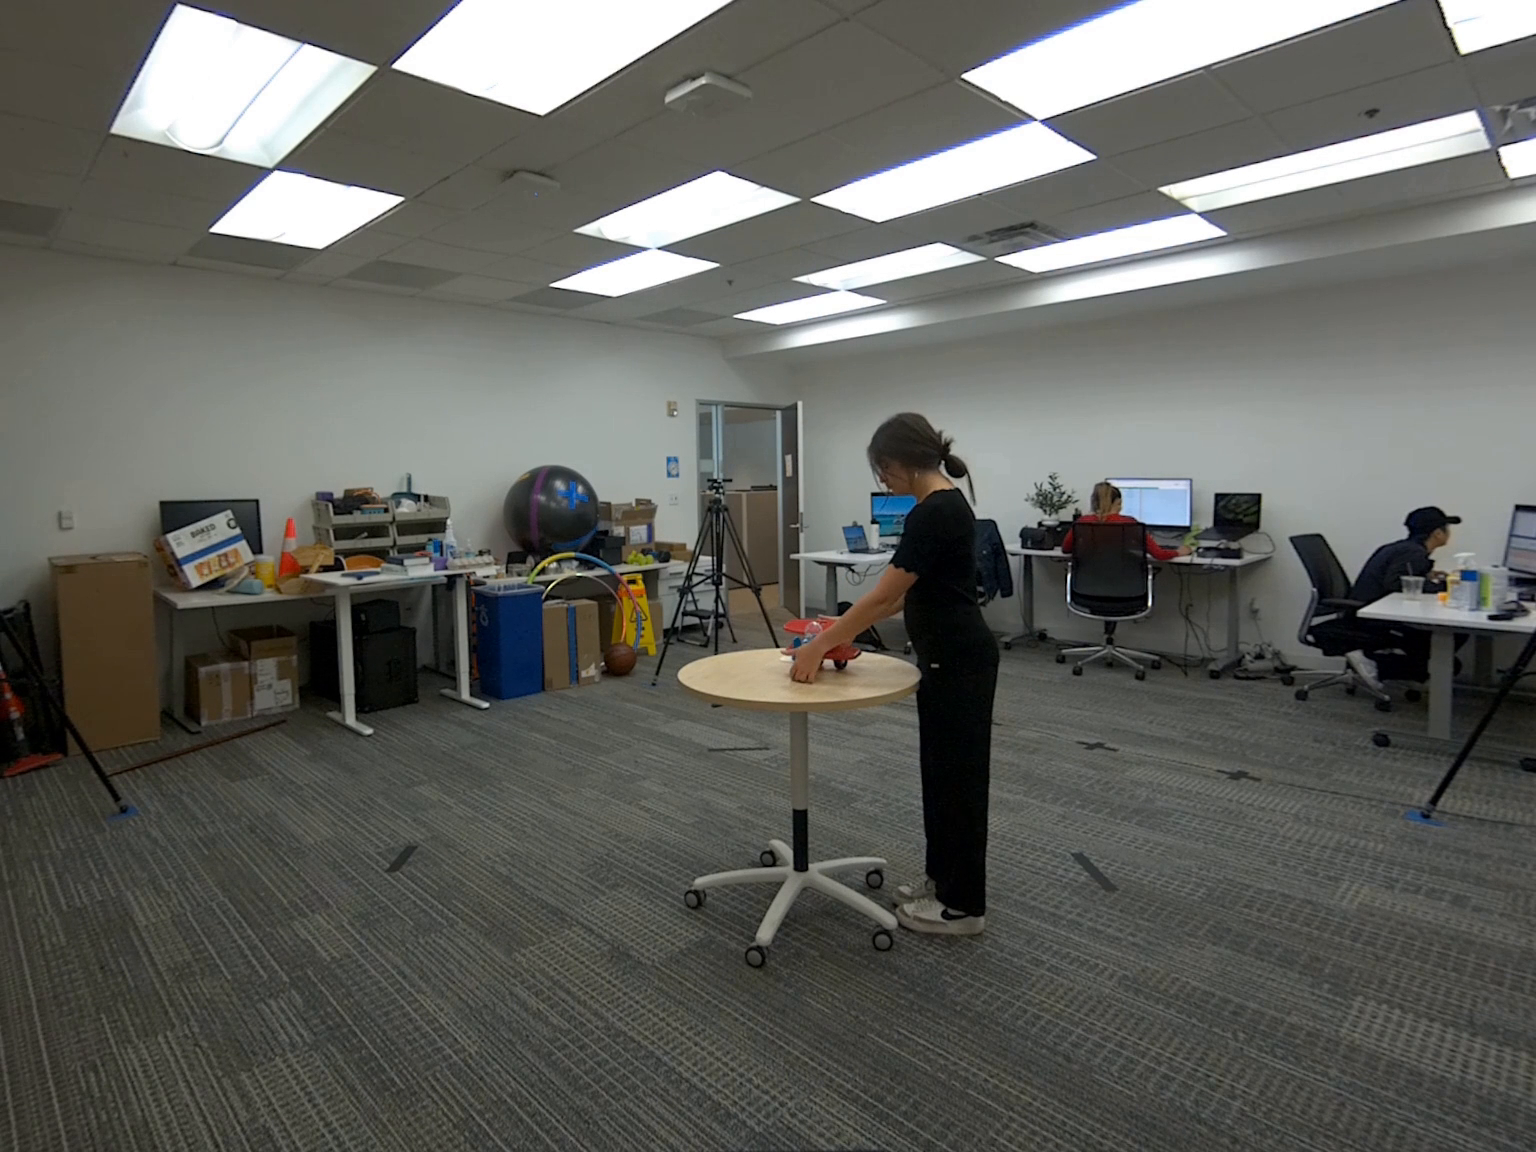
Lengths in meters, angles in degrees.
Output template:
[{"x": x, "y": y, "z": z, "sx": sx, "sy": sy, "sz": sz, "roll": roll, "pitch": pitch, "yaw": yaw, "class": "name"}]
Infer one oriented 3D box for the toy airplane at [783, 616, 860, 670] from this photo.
[{"x": 0.180, "y": 0.229, "z": 2.675, "sx": 0.253, "sy": 0.156, "sz": 0.258, "roll": -1, "pitch": 5, "yaw": 6, "class": "toy airplane"}]
